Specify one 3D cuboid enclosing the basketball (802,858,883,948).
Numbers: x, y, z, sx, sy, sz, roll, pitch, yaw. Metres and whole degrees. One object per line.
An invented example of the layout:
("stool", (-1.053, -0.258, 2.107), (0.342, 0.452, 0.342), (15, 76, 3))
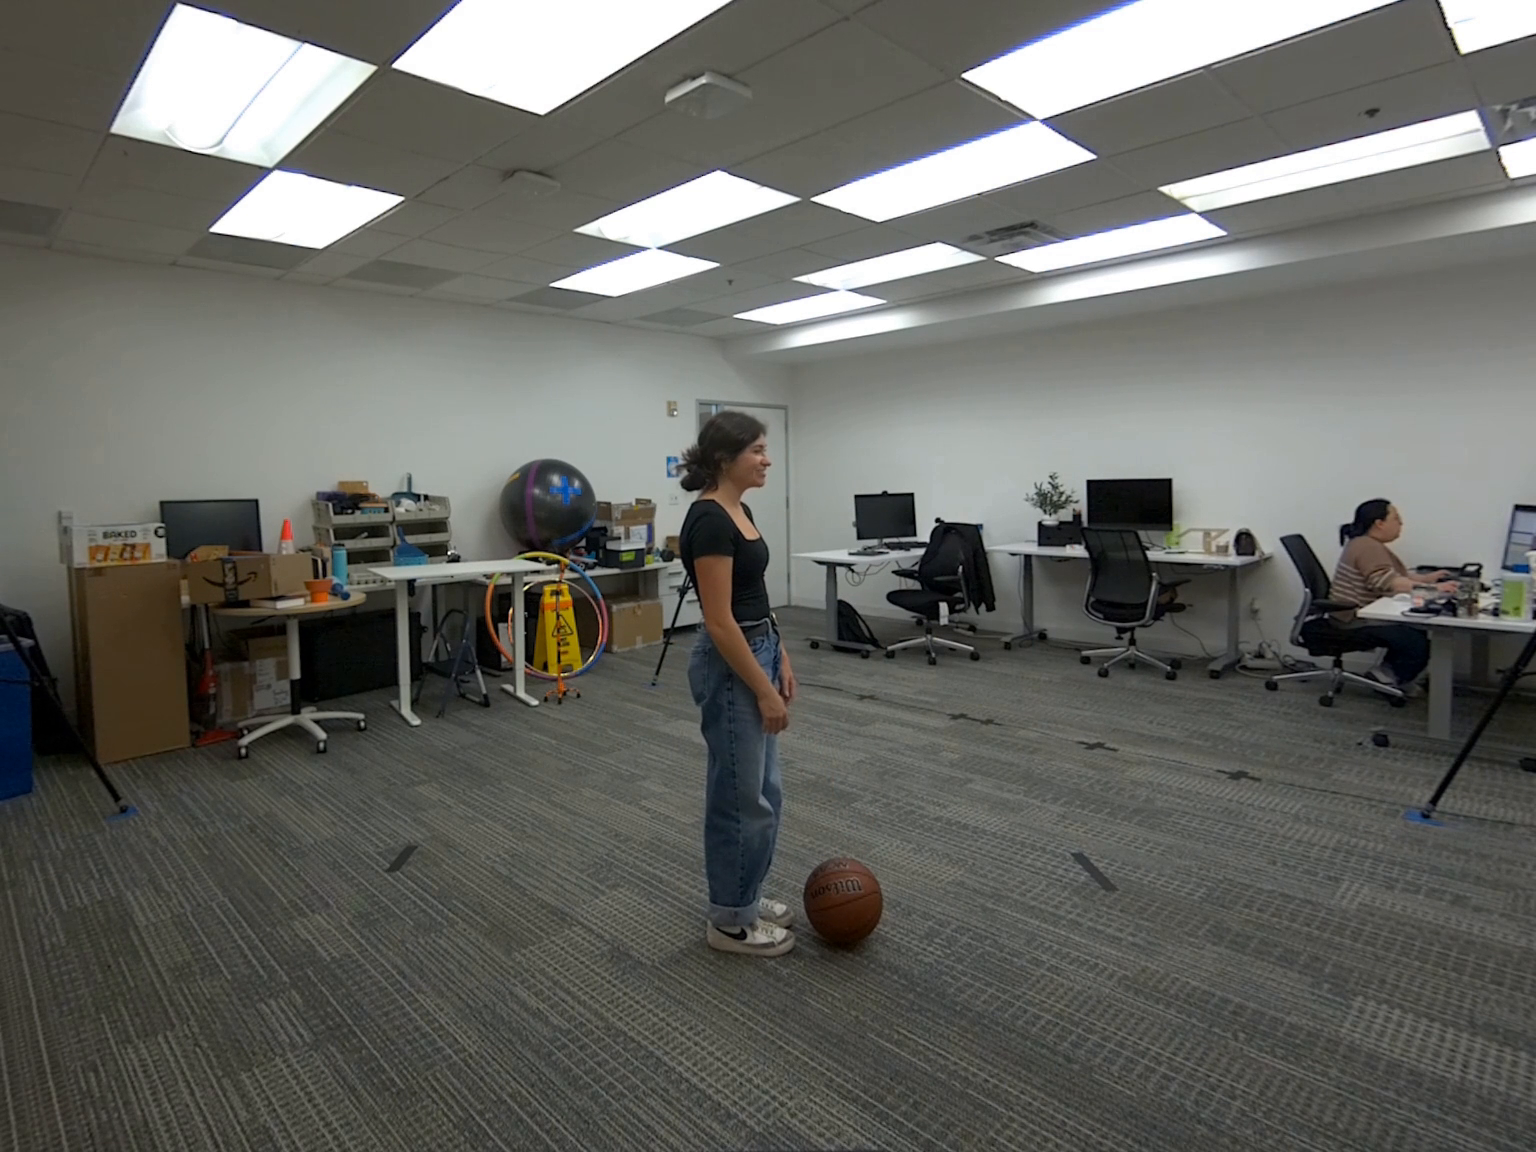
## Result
("basketball", (0.225, 0.973, 2.581), (0.236, 0.235, 0.237), (-1, 5, -2))
